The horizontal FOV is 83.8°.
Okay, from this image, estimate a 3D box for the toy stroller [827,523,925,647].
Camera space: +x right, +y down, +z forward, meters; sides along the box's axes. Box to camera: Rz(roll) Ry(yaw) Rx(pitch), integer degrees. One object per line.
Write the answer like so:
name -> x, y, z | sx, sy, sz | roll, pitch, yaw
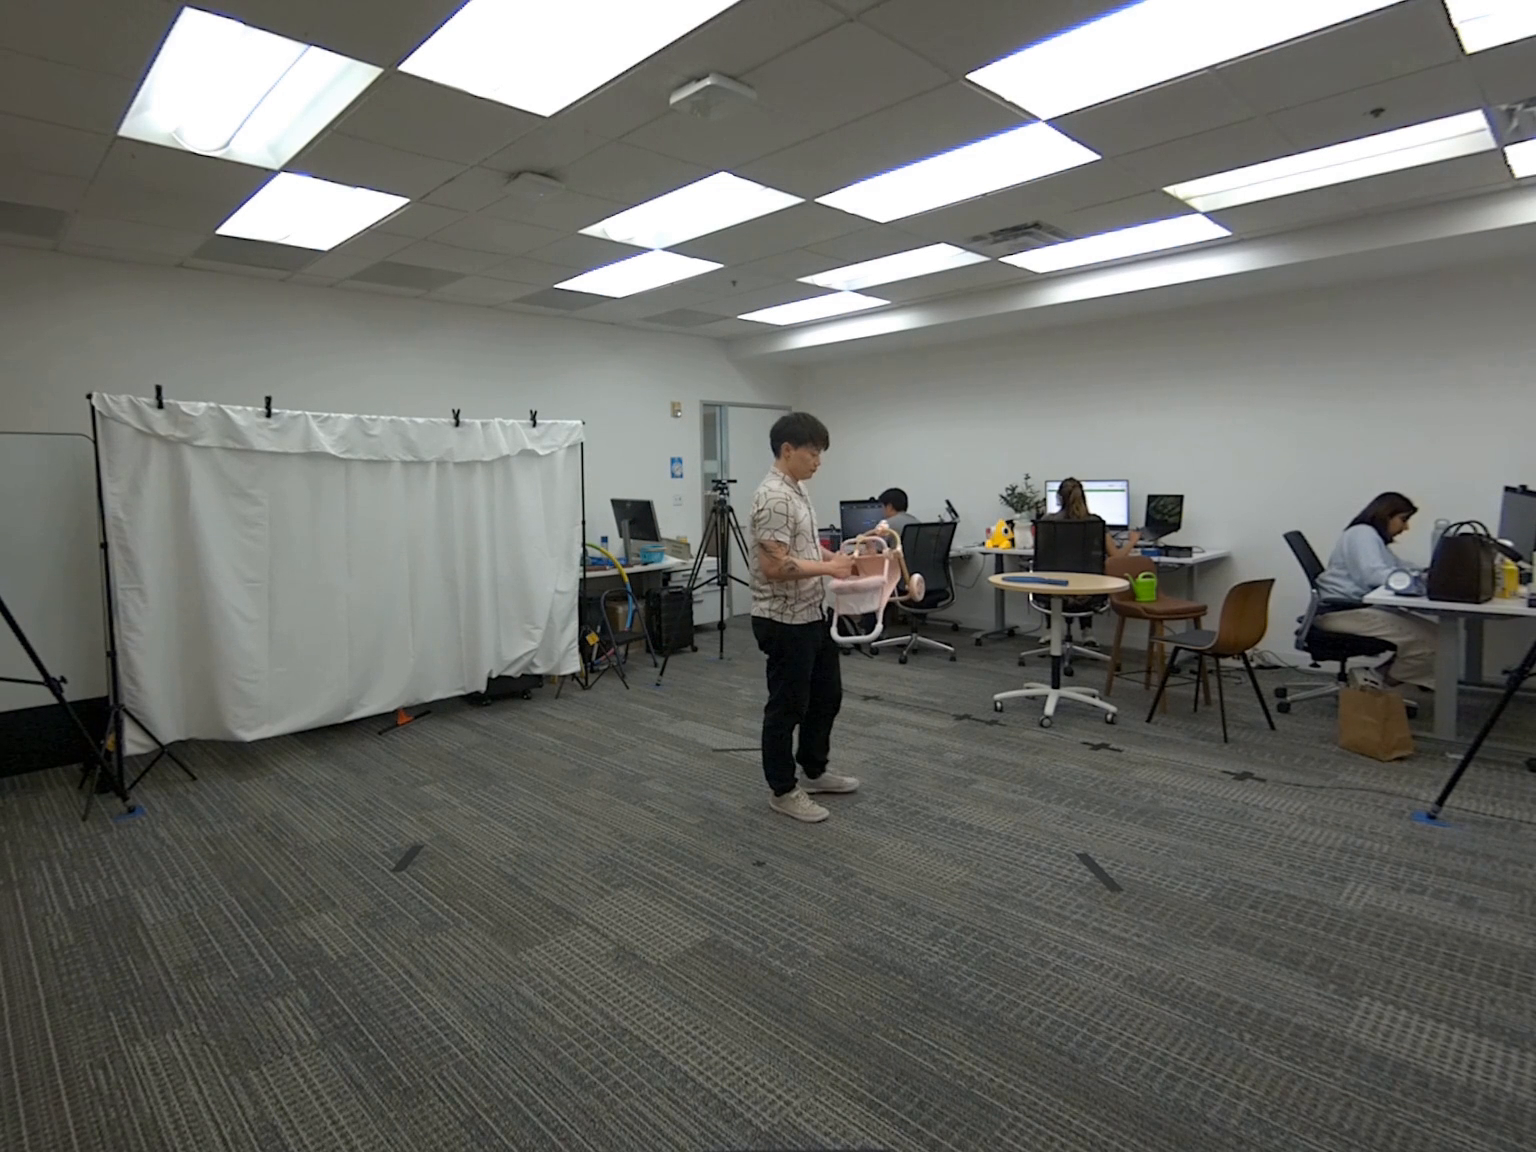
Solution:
toy stroller -> 0.404, 0.007, 3.339 | 0.288, 0.336, 0.529 | -3, 17, 32
